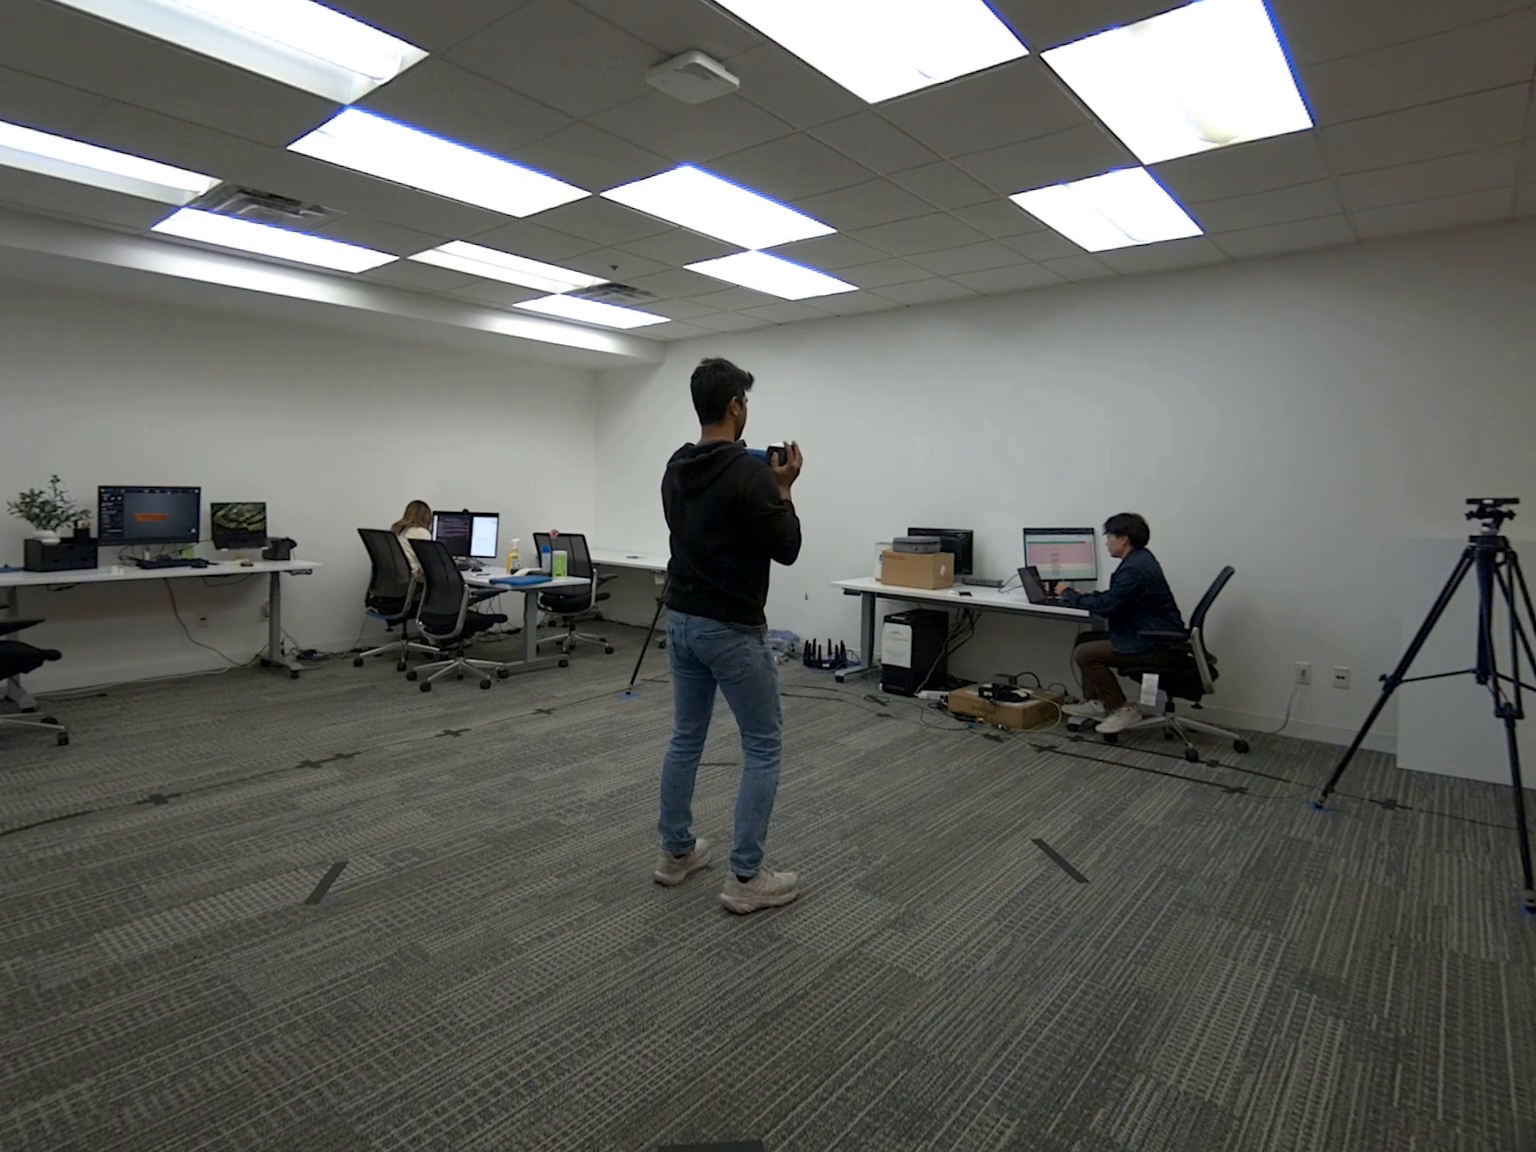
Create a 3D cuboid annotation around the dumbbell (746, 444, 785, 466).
[{"bbox_3d":[-0.055,-0.422,3.026,0.303,0.123,0.105,12,-4,32],"label":"dumbbell"}]
